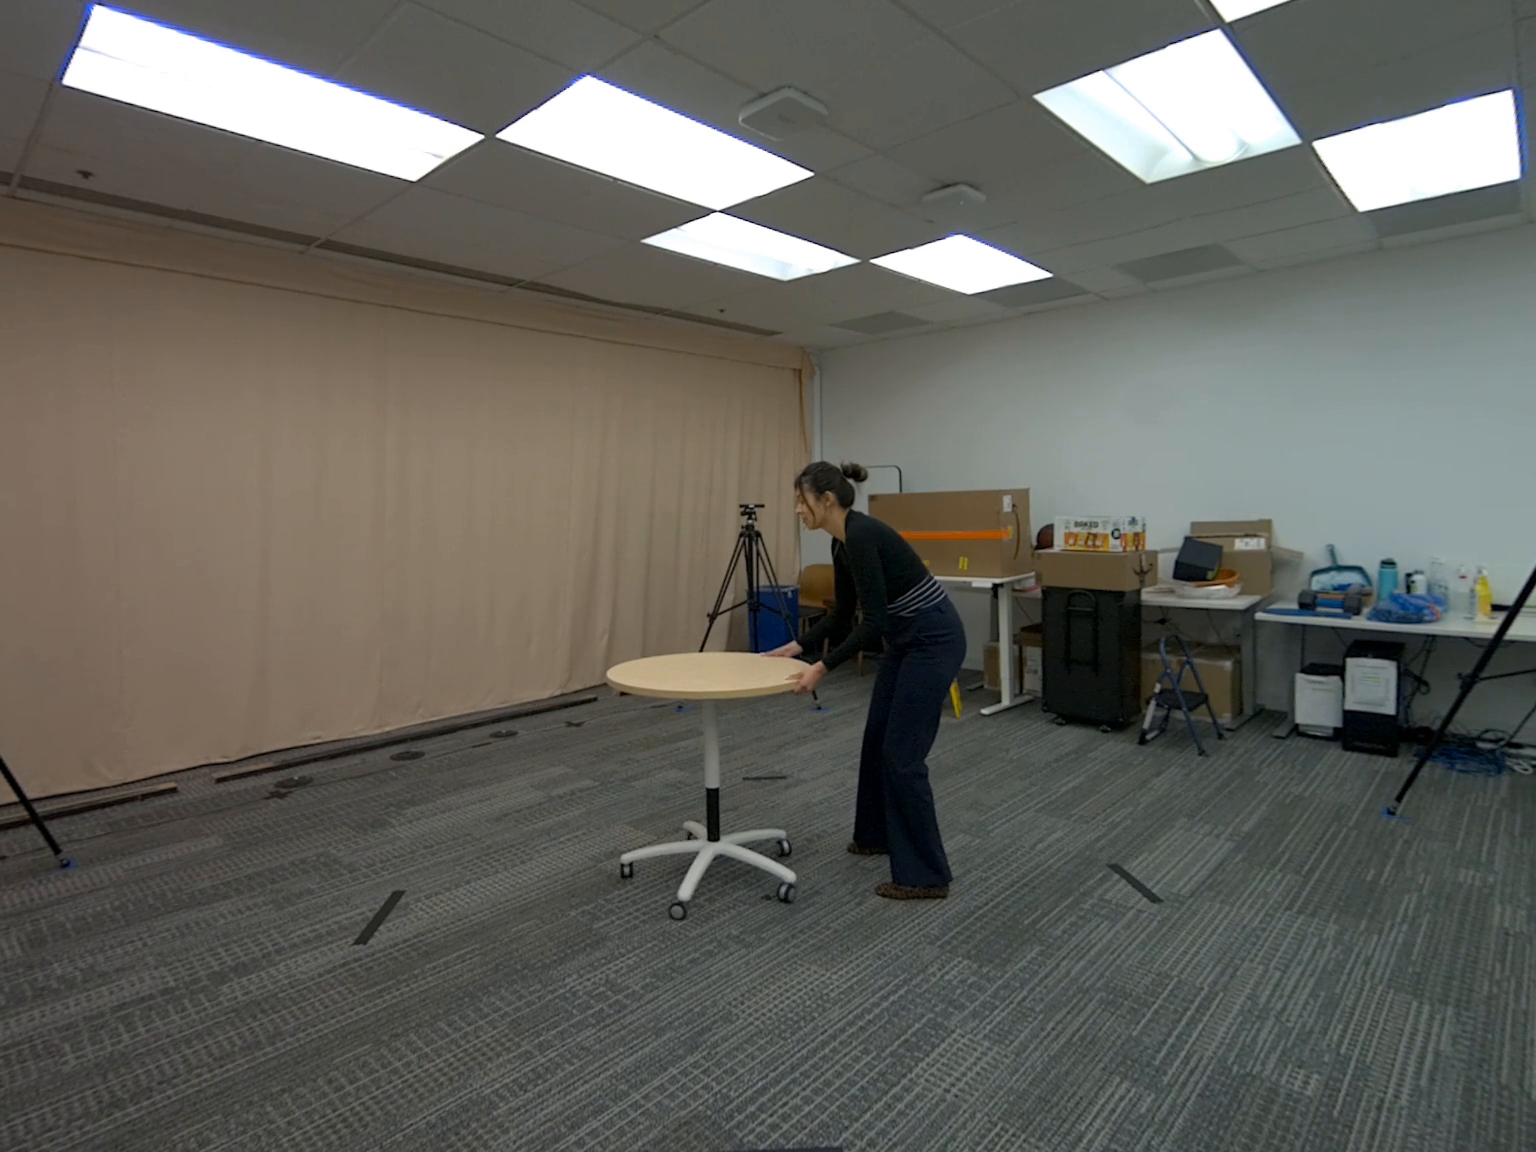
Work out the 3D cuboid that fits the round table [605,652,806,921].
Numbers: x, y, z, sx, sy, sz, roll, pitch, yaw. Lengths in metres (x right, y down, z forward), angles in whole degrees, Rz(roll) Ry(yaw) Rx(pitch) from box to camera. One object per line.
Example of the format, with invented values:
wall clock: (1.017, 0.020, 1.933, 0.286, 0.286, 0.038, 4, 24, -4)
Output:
round table: (-0.206, 0.742, 3.151, 0.763, 0.792, 0.766, -1, 4, -2)
